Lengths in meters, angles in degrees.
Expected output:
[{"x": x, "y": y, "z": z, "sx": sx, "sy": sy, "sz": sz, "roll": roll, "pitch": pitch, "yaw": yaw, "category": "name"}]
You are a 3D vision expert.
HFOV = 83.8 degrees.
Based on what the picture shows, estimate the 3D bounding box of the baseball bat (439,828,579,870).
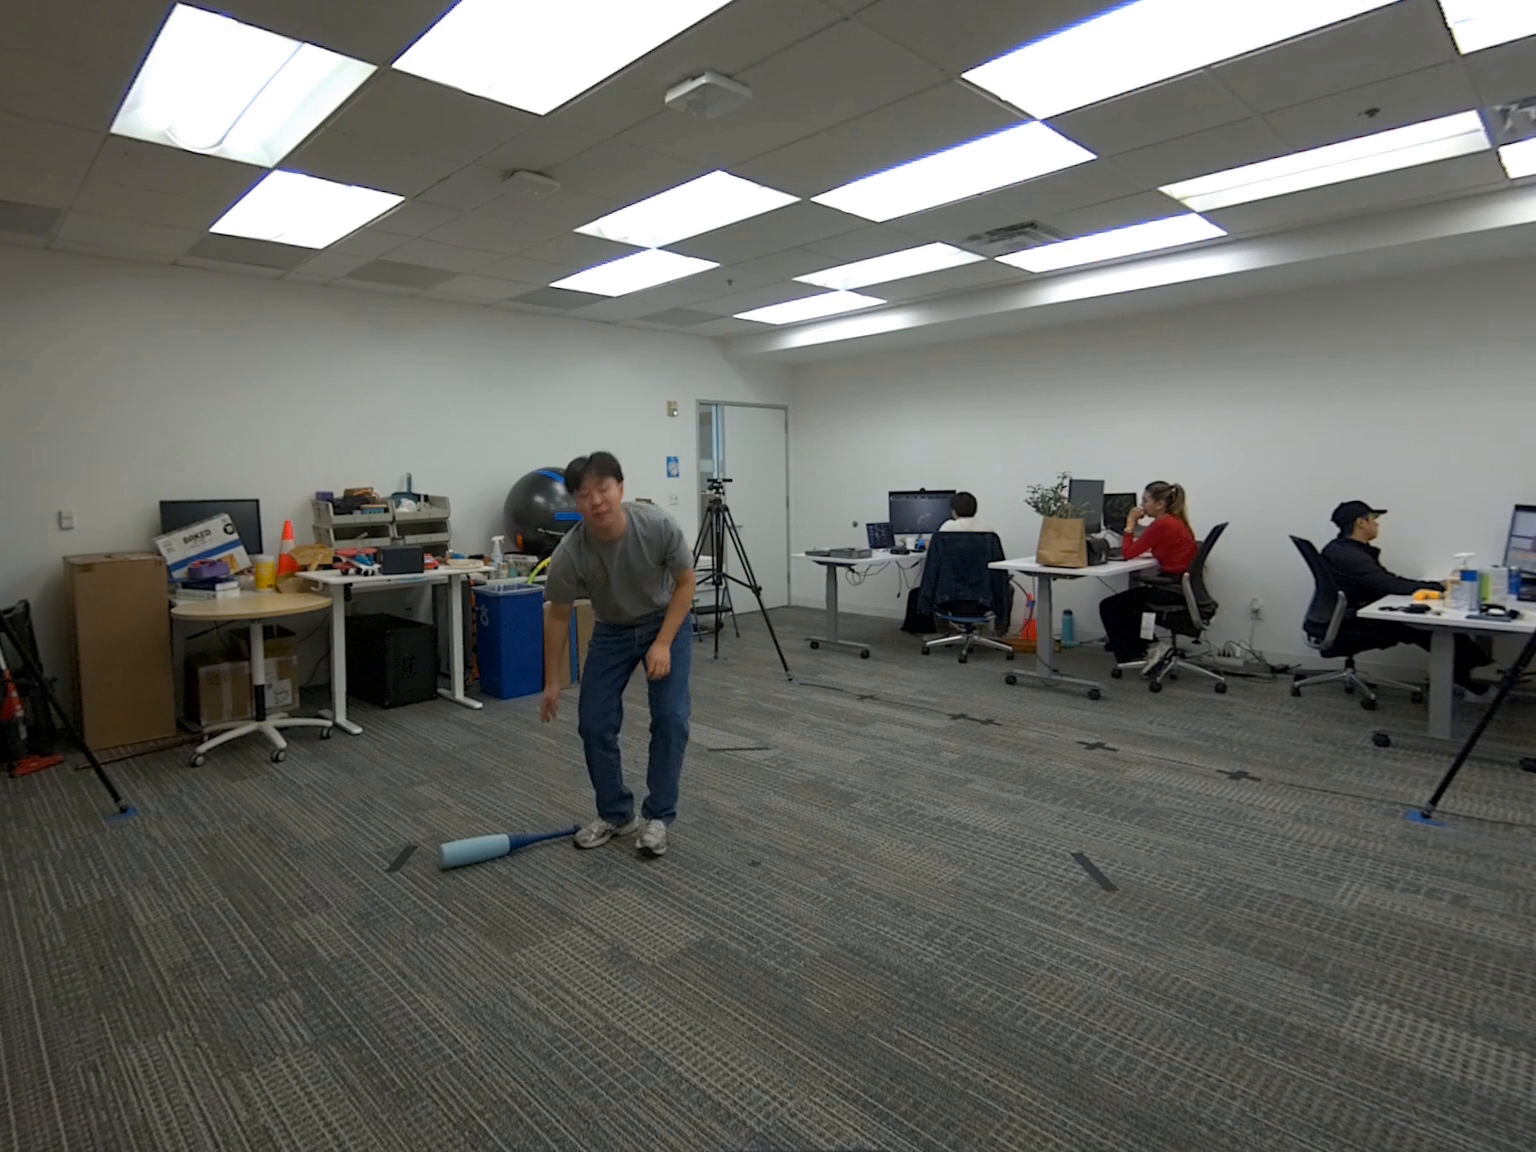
[{"x": -0.968, "y": 1.017, "z": 3.242, "sx": 0.529, "sy": 0.089, "sz": 0.091, "roll": 0, "pitch": 4, "yaw": -32, "category": "baseball bat"}]
